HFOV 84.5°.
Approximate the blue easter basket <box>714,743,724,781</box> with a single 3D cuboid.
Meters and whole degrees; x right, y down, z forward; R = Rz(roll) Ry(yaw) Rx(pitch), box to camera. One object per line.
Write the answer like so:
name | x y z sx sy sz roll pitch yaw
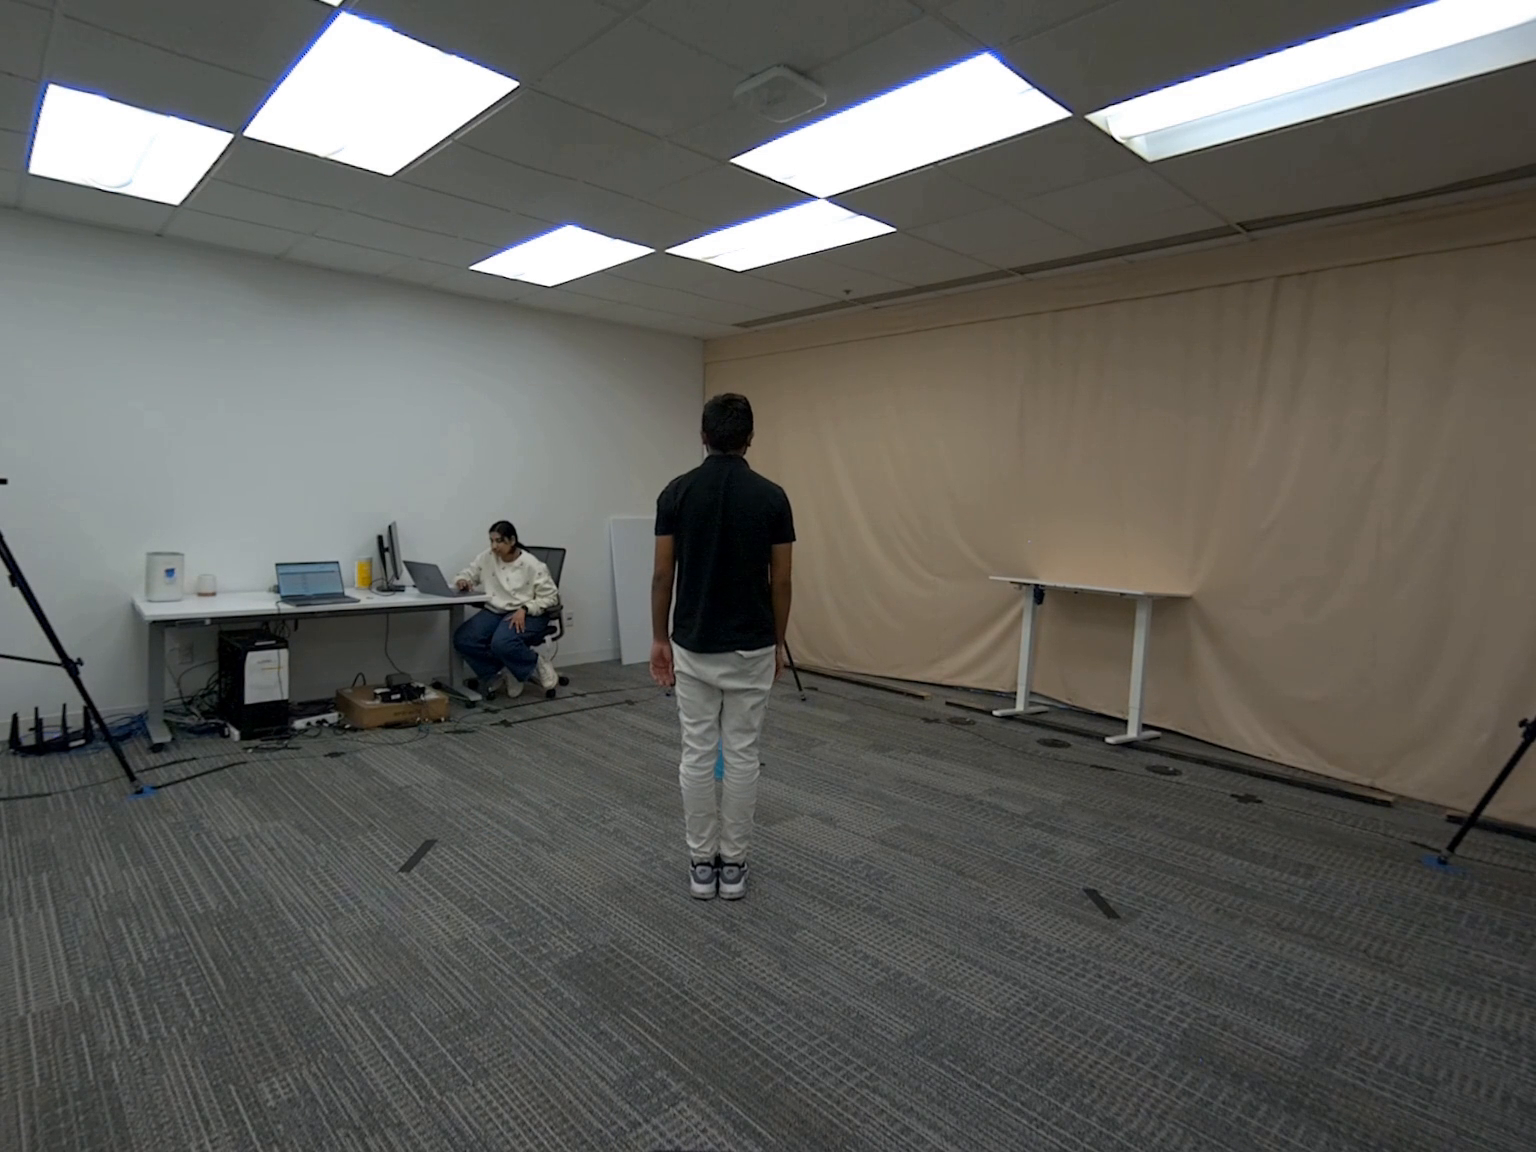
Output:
blue easter basket | -0.229 0.927 4.292 0.243 0.155 0.244 1 5 -1
